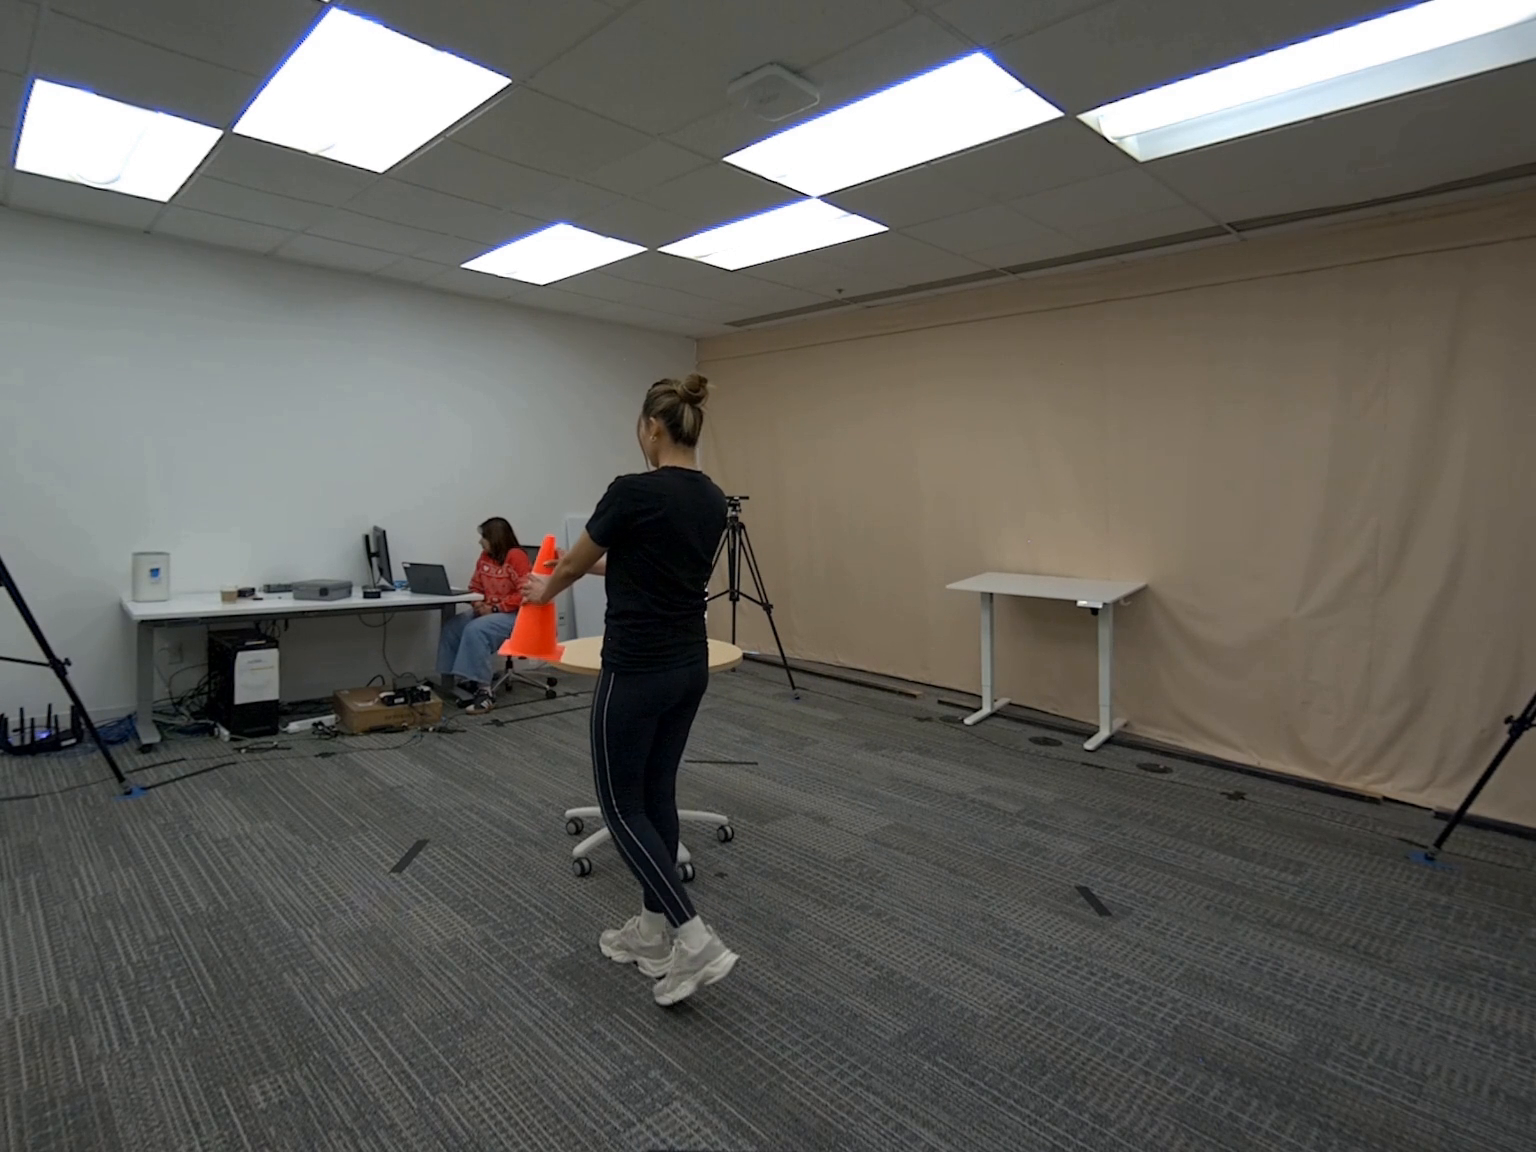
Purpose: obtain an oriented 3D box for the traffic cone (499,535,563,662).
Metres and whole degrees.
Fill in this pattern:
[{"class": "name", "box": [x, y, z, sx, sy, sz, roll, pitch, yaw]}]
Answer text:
[{"class": "traffic cone", "box": [-0.746, 0.059, 2.717, 0.200, 0.383, 0.209, 8, 4, -19]}]
